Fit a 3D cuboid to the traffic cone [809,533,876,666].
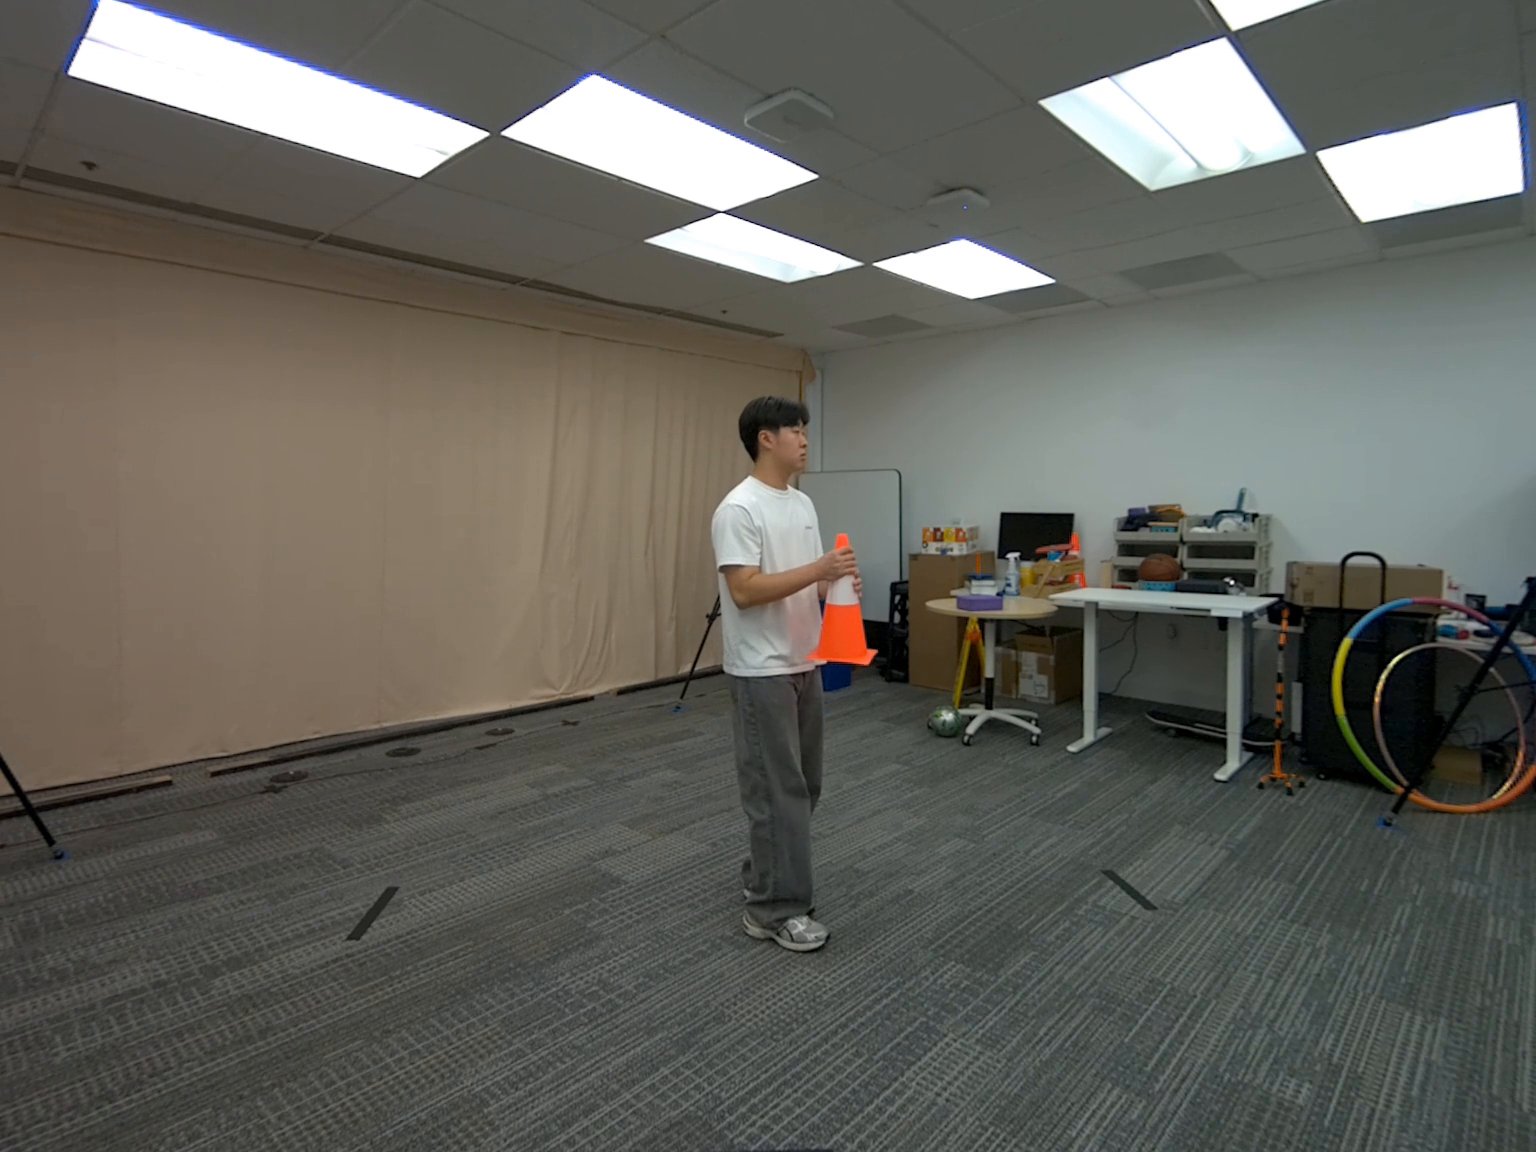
[{"bbox_3d":[0.236,0.067,2.628,0.208,0.382,0.201,1,6,20],"label":"traffic cone"}]
